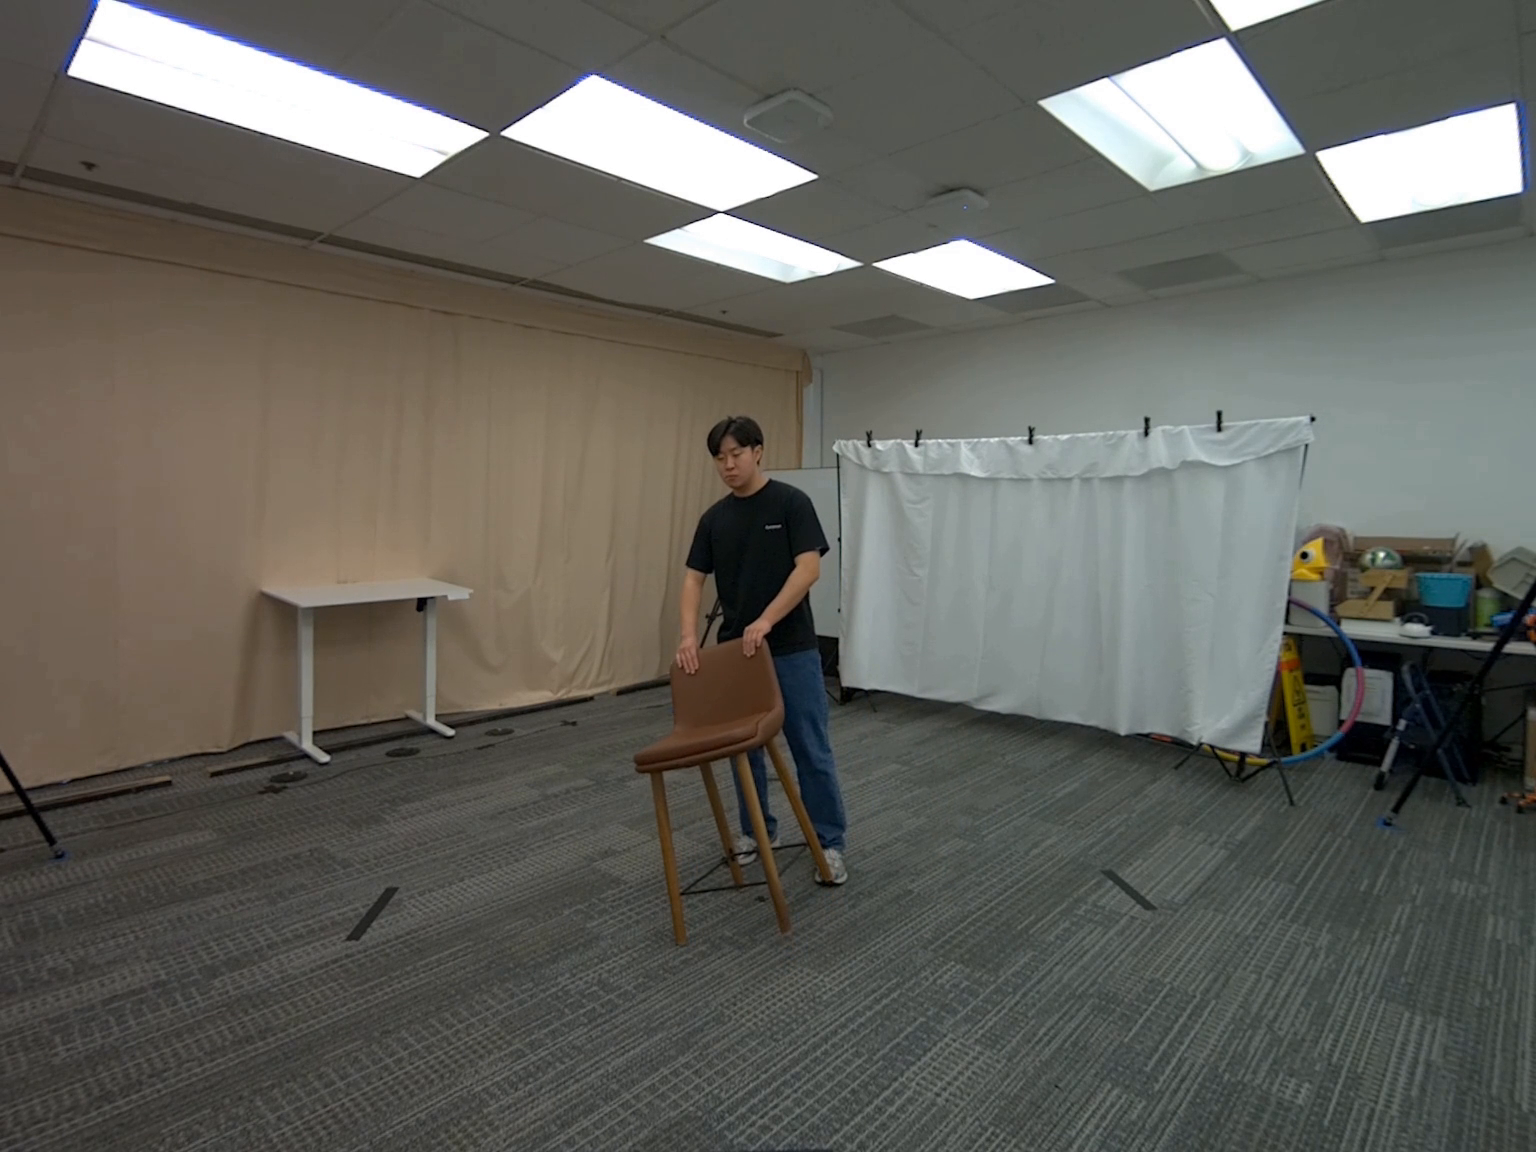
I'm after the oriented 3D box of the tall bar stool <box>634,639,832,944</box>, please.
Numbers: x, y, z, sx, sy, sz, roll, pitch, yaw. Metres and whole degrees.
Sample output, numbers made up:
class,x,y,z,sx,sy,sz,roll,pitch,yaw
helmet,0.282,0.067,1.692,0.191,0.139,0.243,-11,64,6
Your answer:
class,x,y,z,sx,sy,sz,roll,pitch,yaw
tall bar stool,-0.143,0.685,2.834,0.465,0.896,0.455,-18,-8,25
